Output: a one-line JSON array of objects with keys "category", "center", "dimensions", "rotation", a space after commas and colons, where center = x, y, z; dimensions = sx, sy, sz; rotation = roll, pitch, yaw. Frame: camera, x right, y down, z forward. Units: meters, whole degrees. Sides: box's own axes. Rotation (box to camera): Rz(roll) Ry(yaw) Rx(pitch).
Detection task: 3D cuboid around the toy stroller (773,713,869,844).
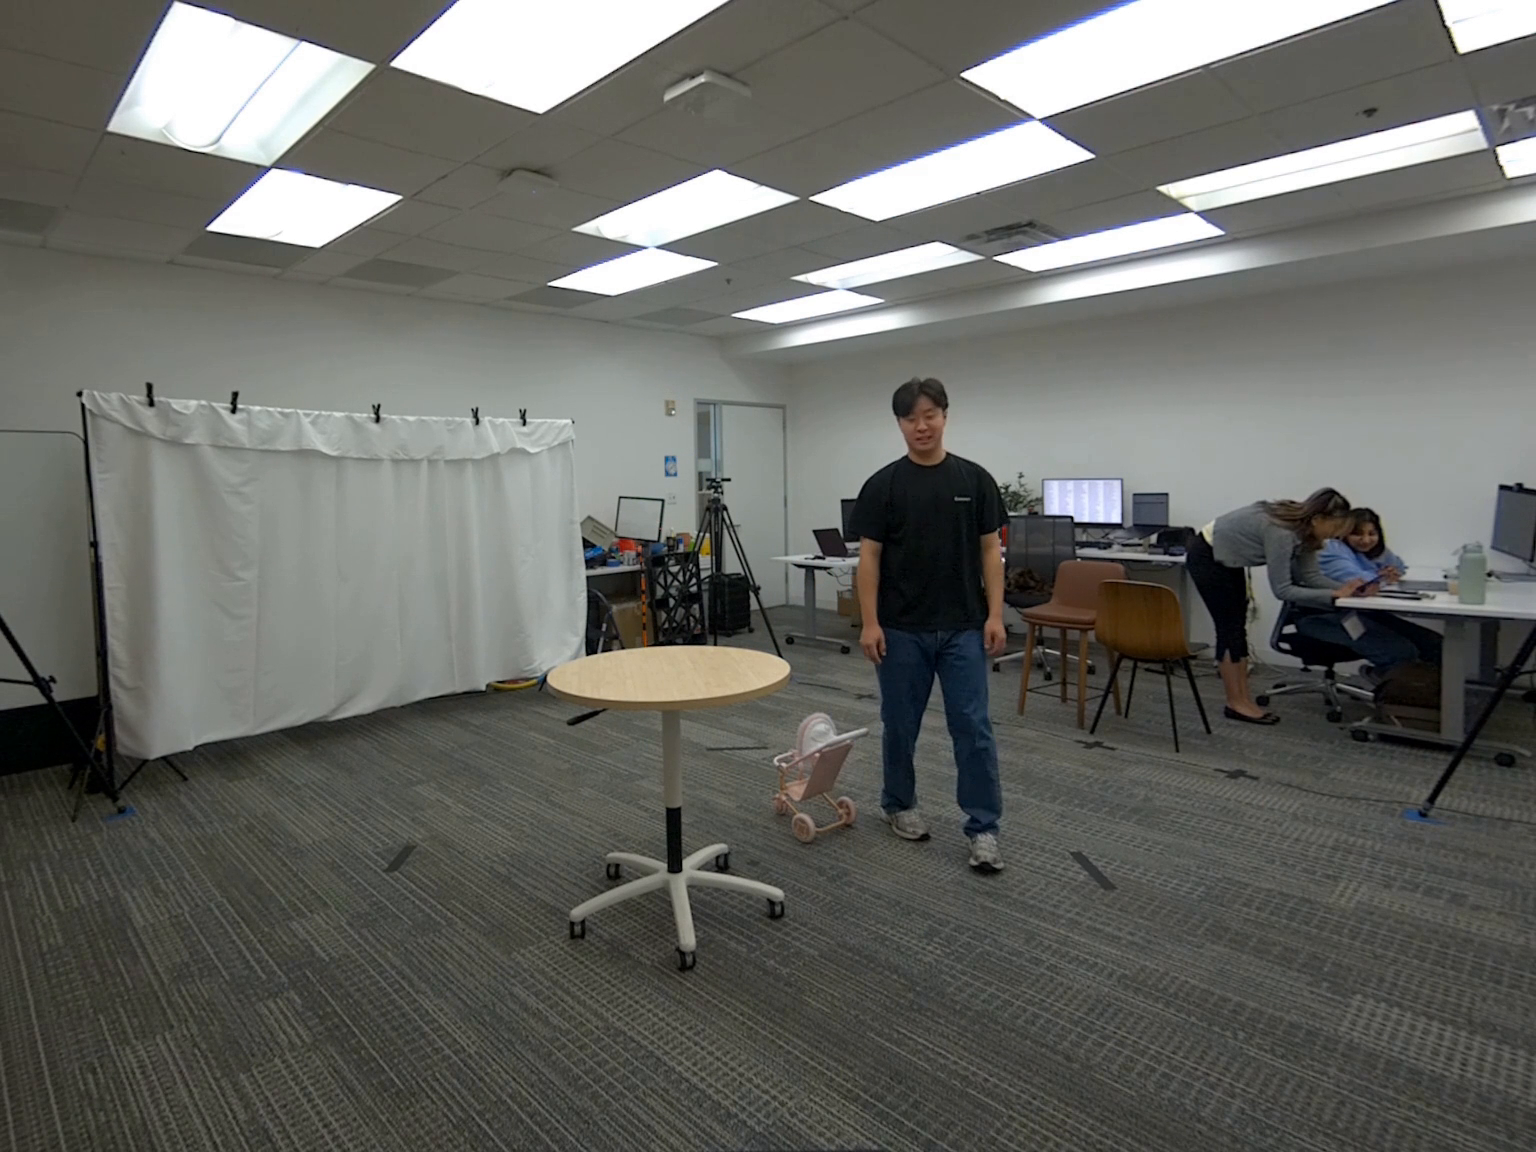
[{"category": "toy stroller", "center": [0.185, 0.779, 3.401], "dimensions": [0.274, 0.528, 0.354], "rotation": [-4, 21, -38]}]
